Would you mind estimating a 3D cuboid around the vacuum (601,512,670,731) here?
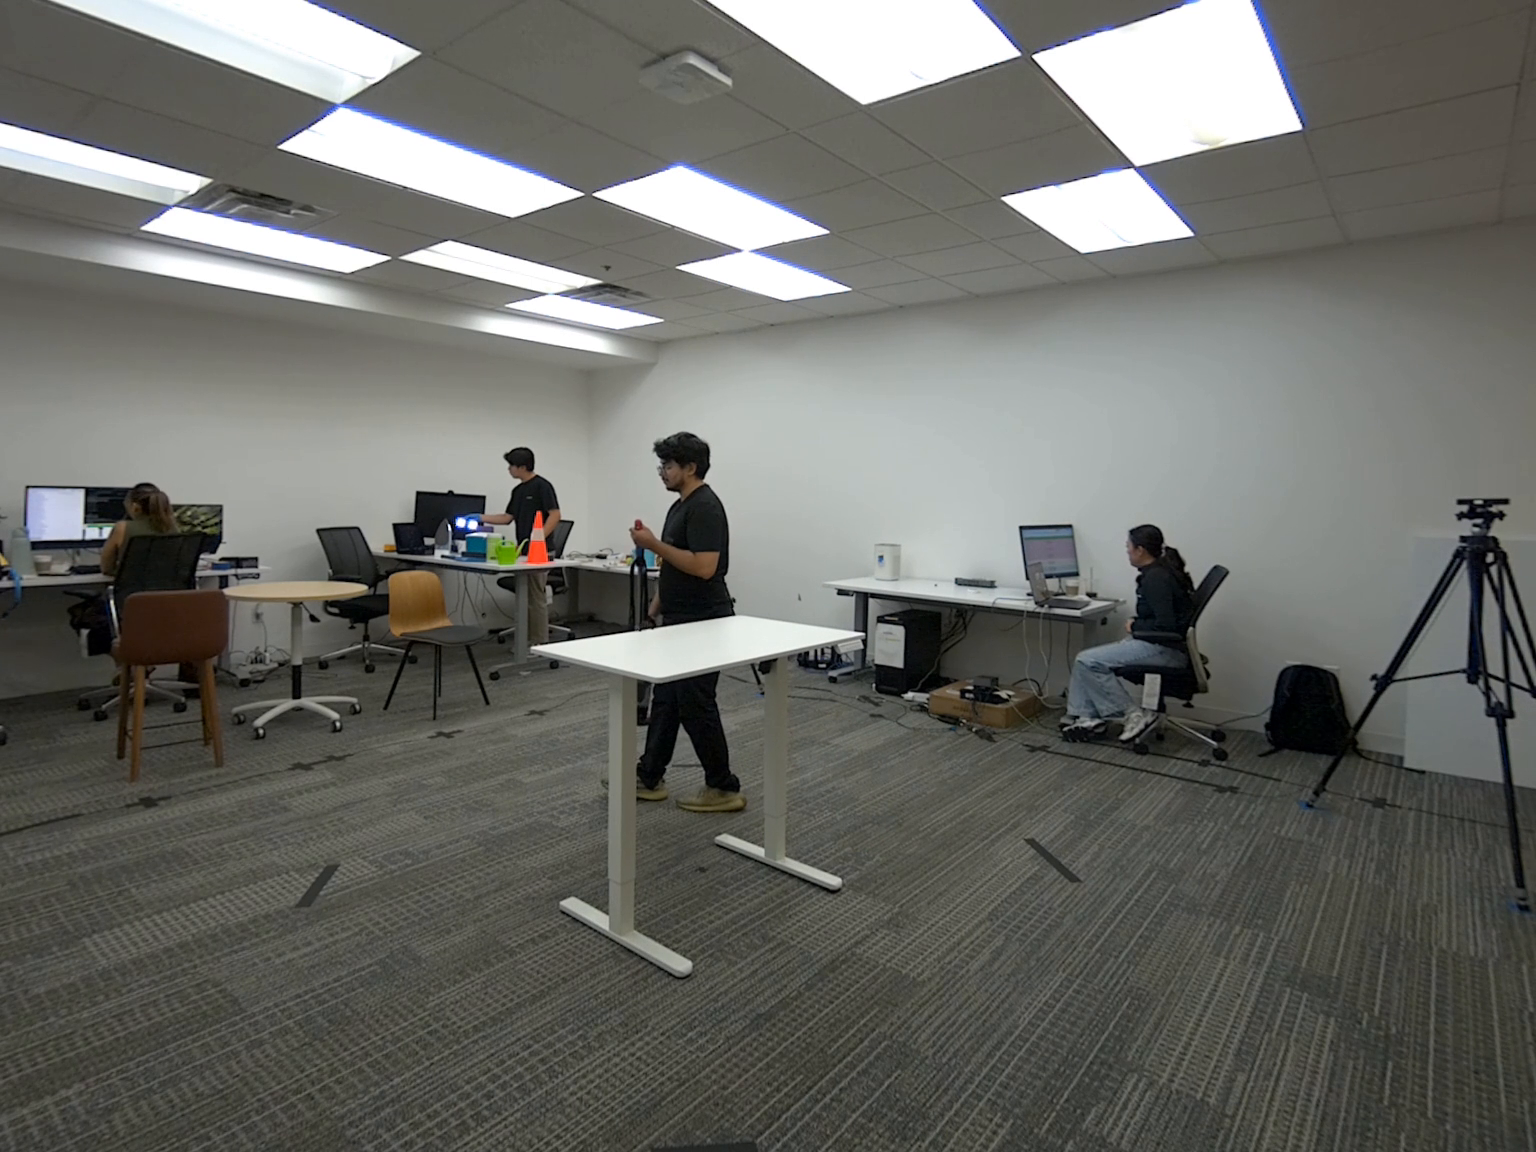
[{"bbox_3d":[-0.577,0.226,3.725,0.255,1.025,0.146,7,29,6],"label":"vacuum"}]
